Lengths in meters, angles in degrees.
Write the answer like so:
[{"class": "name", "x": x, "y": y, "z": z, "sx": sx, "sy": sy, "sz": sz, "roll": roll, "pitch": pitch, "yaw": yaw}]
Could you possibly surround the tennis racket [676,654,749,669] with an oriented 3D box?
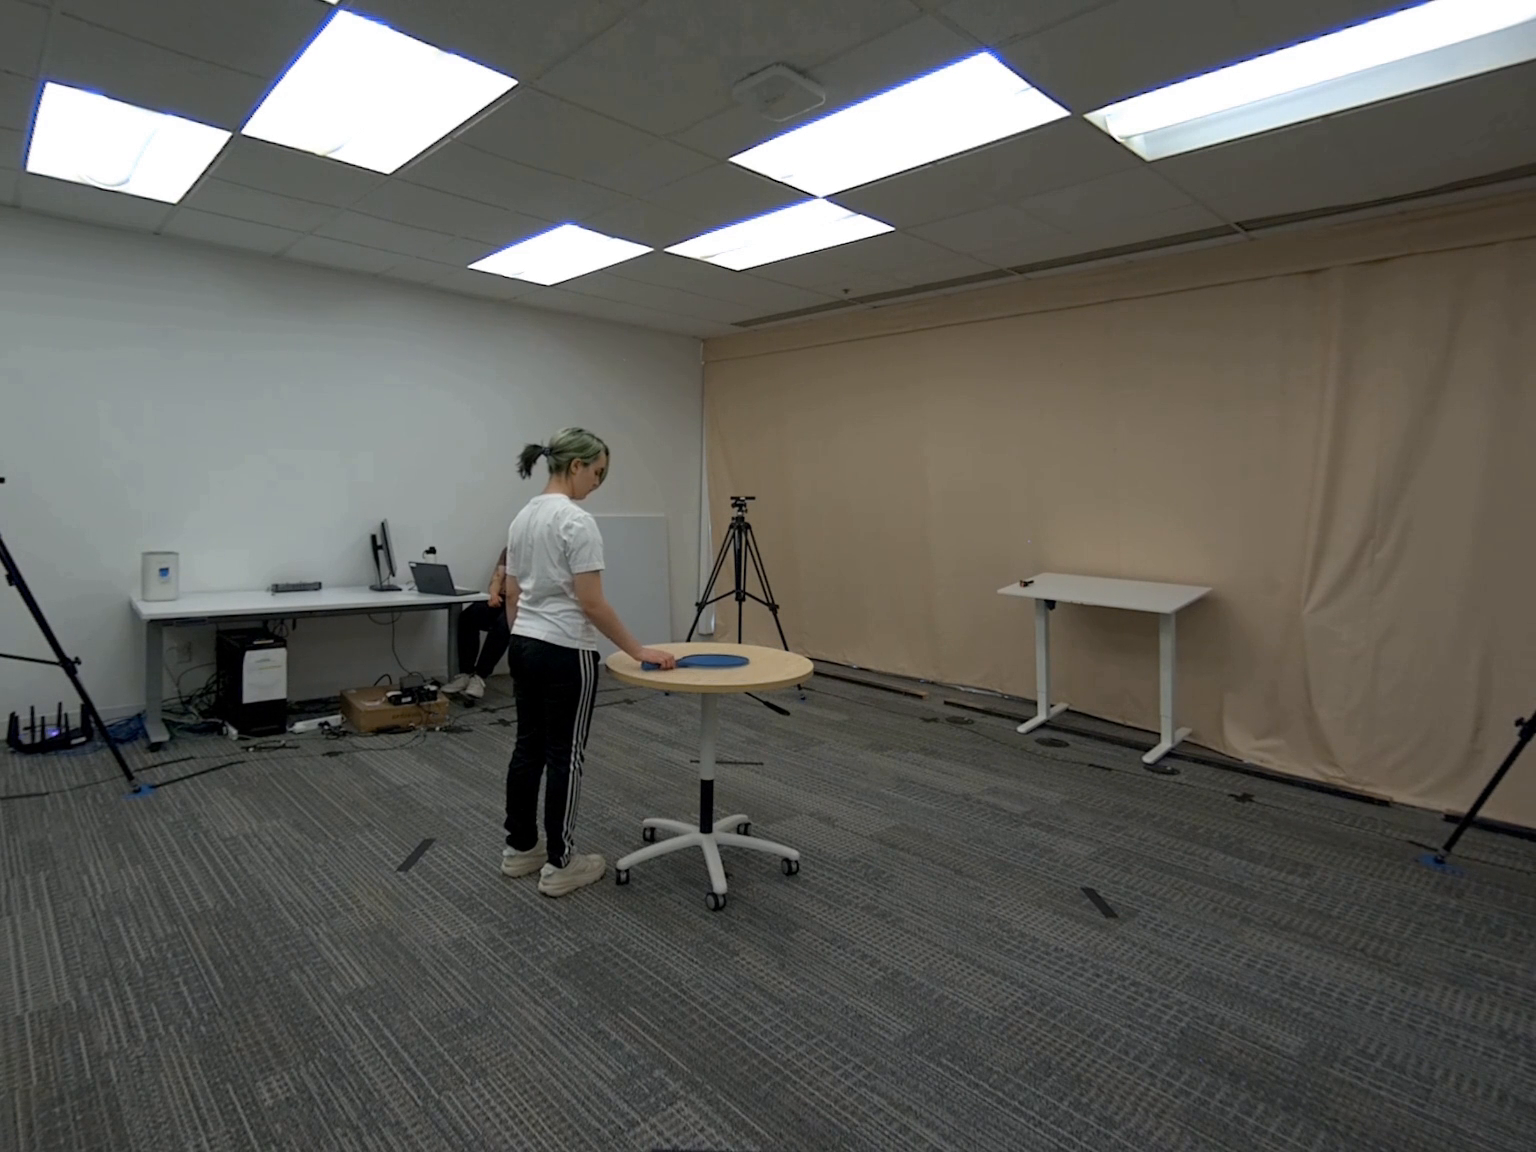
[{"class": "tennis racket", "x": -0.273, "y": 0.314, "z": 3.046, "sx": 0.424, "sy": 0.032, "sz": 0.218, "roll": -1, "pitch": 5, "yaw": -29}]
